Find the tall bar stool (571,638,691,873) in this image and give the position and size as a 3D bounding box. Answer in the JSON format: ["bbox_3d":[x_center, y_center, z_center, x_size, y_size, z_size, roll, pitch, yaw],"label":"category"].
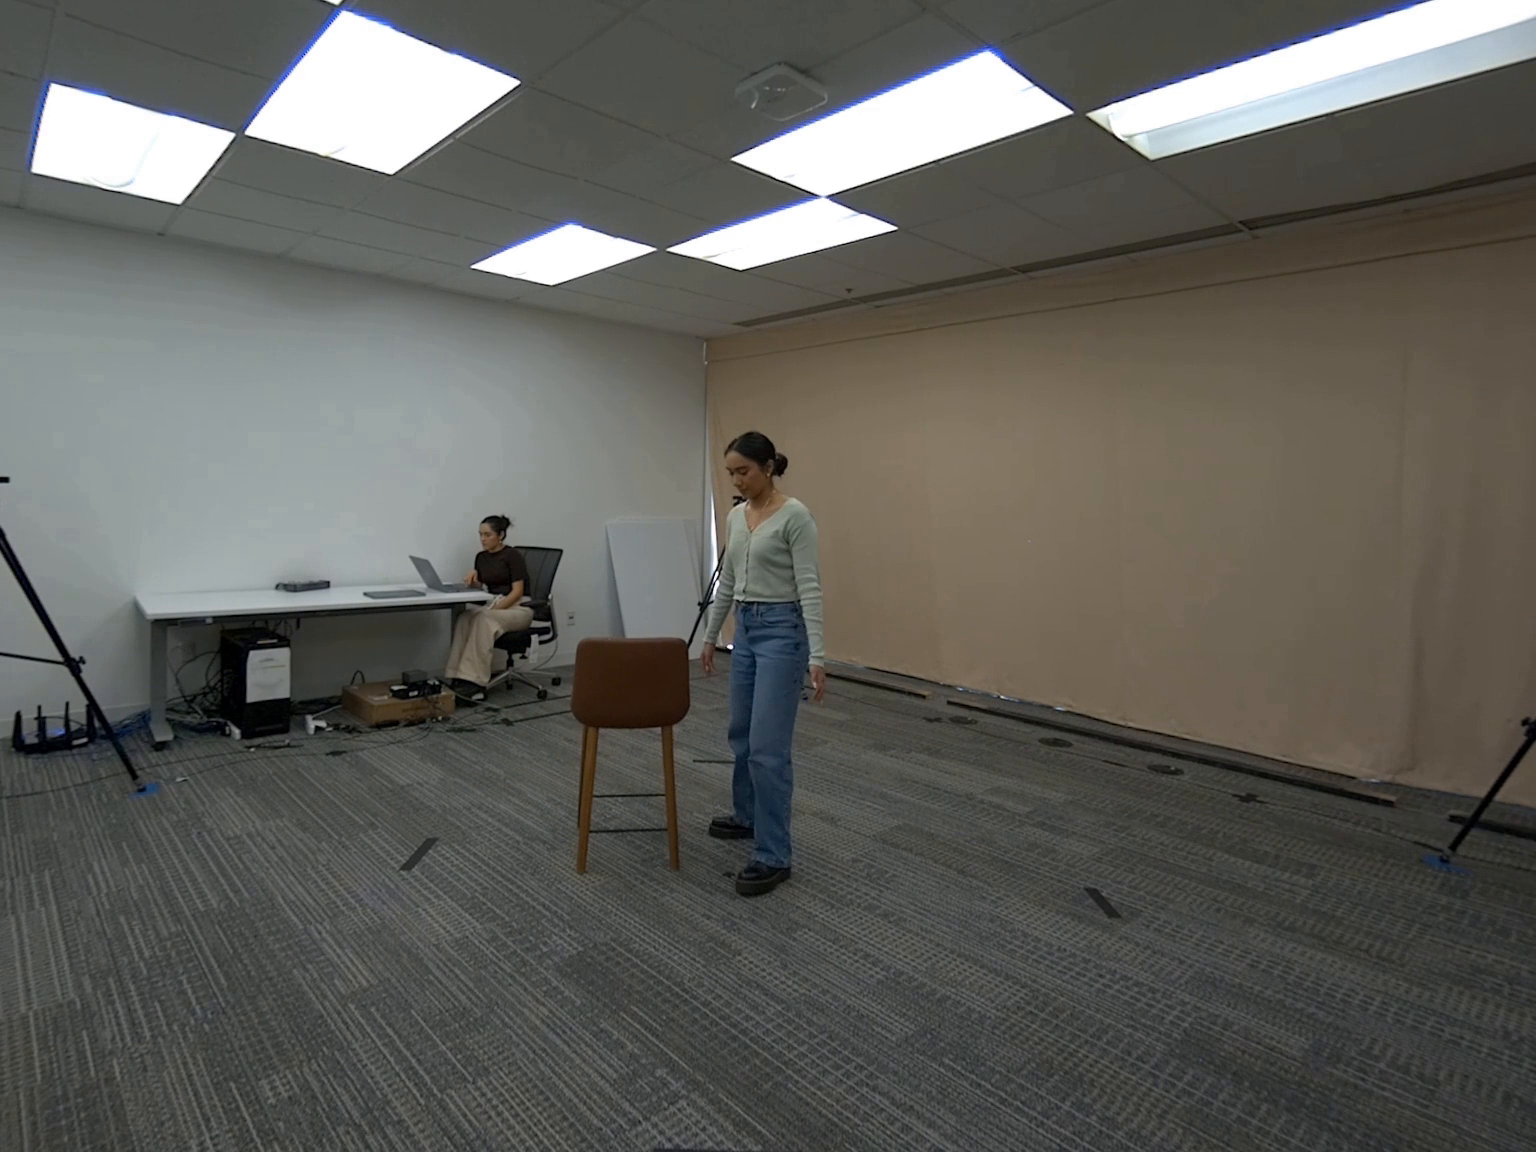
[{"bbox_3d":[-0.547,0.639,3.299,0.453,0.887,0.473,1,5,-10],"label":"tall bar stool"}]
